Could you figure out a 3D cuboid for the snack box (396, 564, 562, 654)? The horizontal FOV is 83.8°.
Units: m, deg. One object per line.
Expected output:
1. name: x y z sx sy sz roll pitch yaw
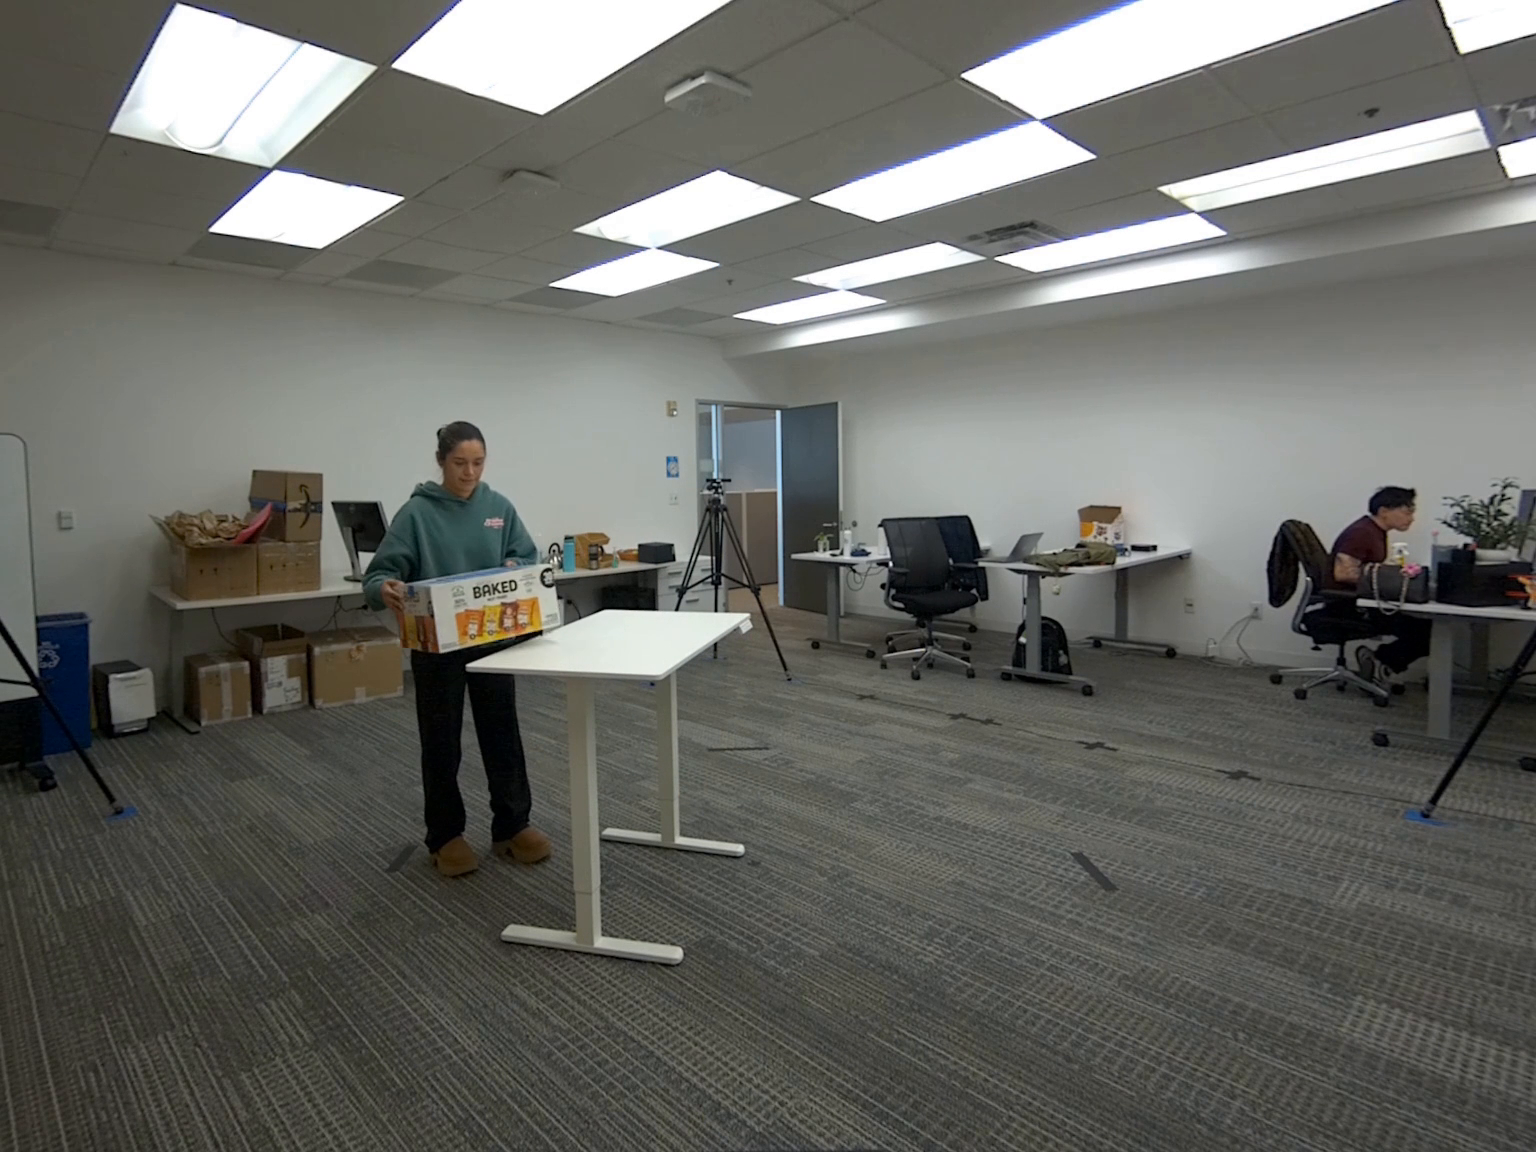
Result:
1. snack box: -0.936 0.099 2.747 0.396 0.205 0.350 -12 8 -41
